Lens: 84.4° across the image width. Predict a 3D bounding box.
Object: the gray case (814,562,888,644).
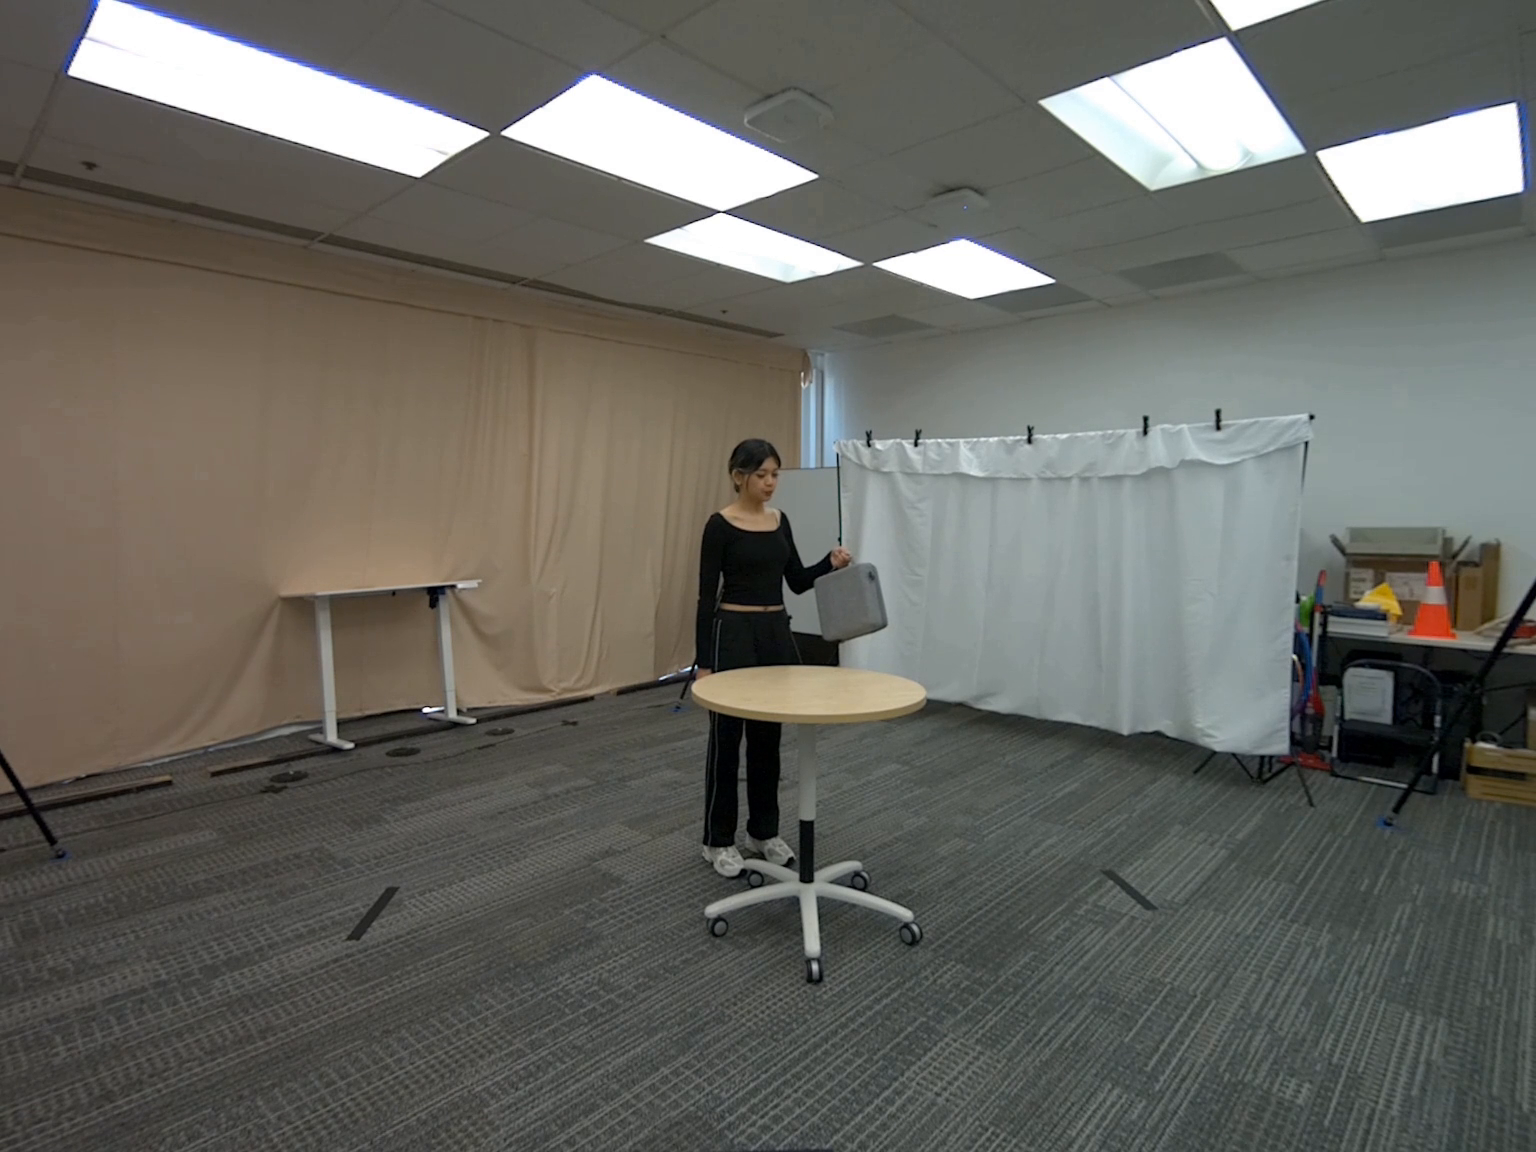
[{"bbox_3d":[0.312,0.096,3.121,0.101,0.264,0.262,6,-21,-42],"label":"gray case"}]
